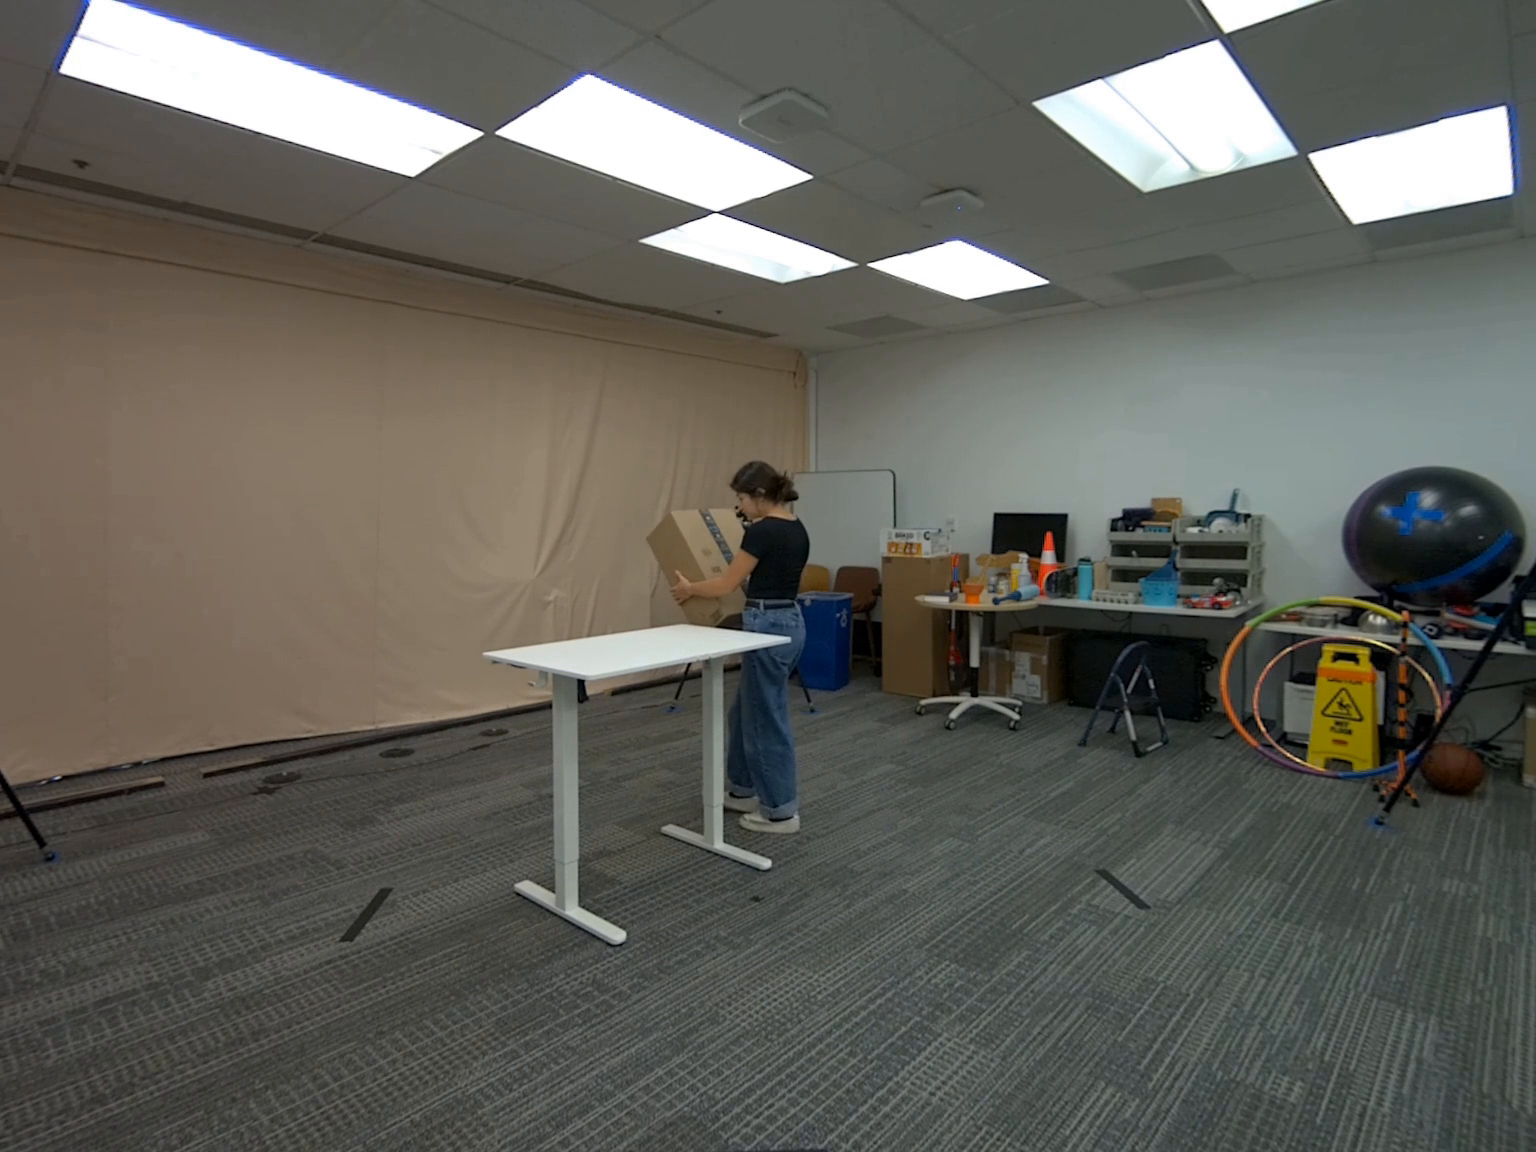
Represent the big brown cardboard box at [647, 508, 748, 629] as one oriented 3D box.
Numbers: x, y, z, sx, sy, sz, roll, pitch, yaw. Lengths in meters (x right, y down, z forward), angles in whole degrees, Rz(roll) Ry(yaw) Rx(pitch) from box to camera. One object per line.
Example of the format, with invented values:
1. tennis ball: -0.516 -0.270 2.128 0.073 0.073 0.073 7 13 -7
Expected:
1. big brown cardboard box: -0.249 -0.024 3.913 0.405 0.602 0.235 -5 -32 -48
